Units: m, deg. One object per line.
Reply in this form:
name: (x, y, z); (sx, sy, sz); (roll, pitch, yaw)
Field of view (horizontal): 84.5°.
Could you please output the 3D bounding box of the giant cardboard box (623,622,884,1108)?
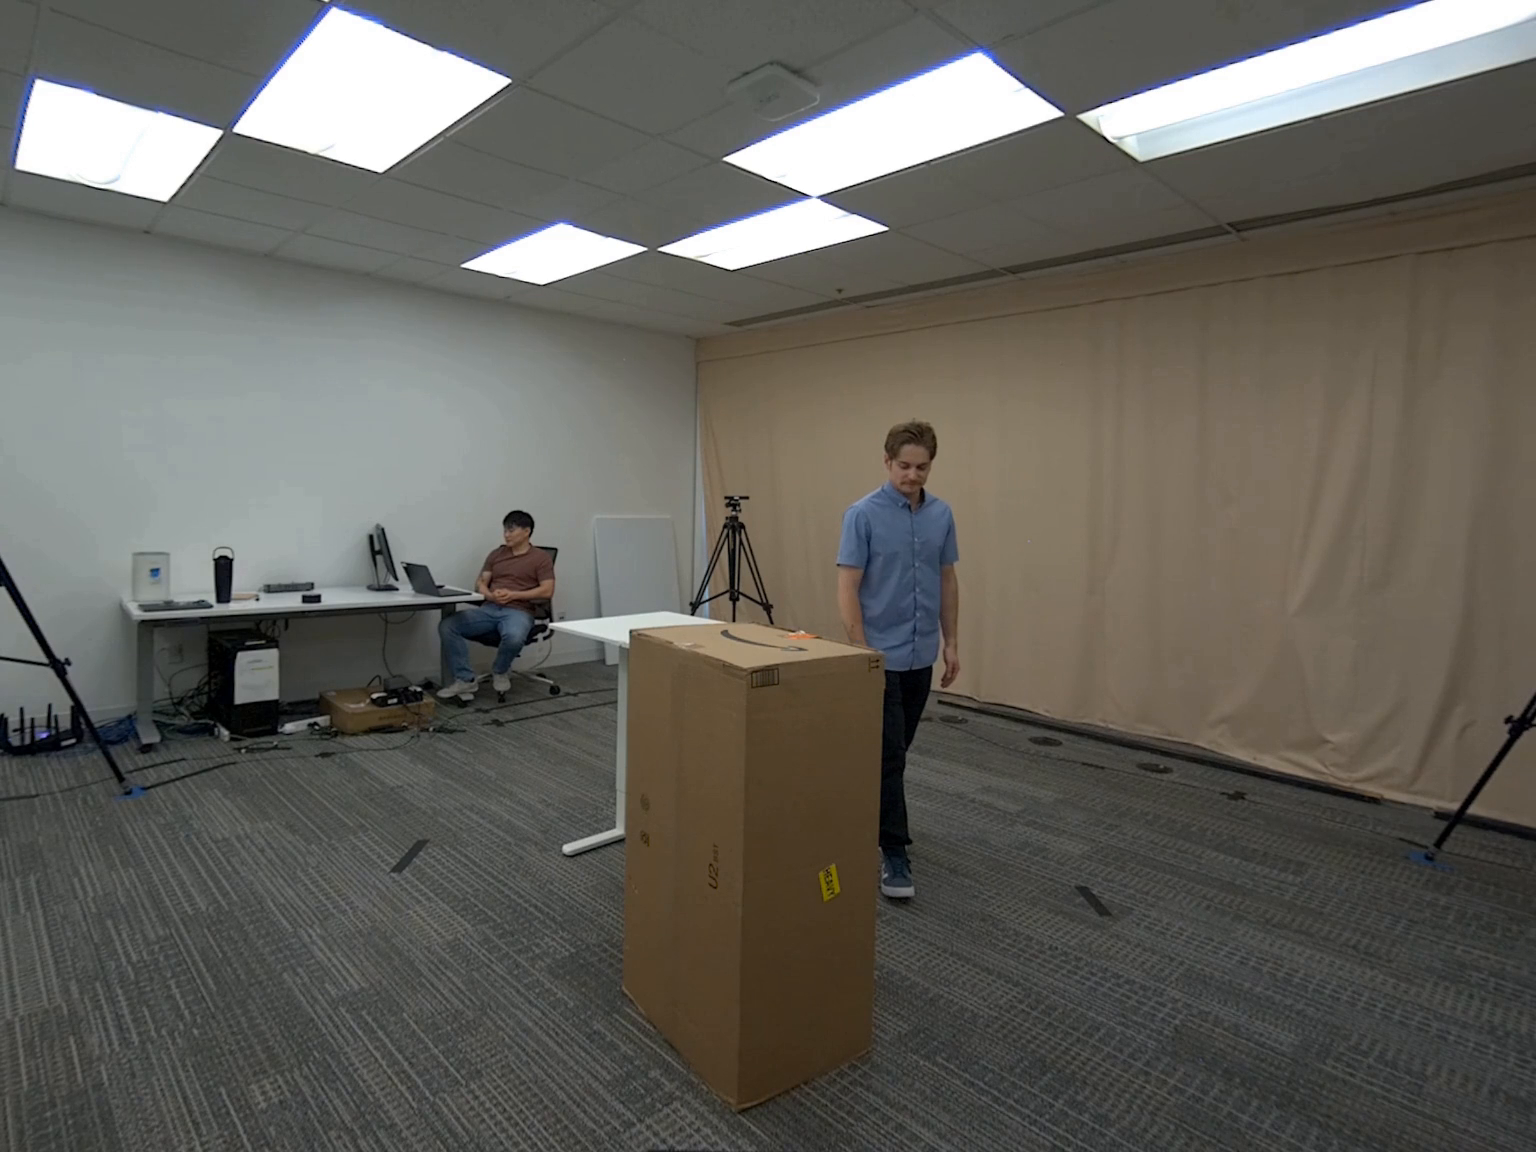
giant cardboard box: (-0.062, 0.679, 2.225); (0.417, 1.023, 0.592); (-1, 4, -36)
